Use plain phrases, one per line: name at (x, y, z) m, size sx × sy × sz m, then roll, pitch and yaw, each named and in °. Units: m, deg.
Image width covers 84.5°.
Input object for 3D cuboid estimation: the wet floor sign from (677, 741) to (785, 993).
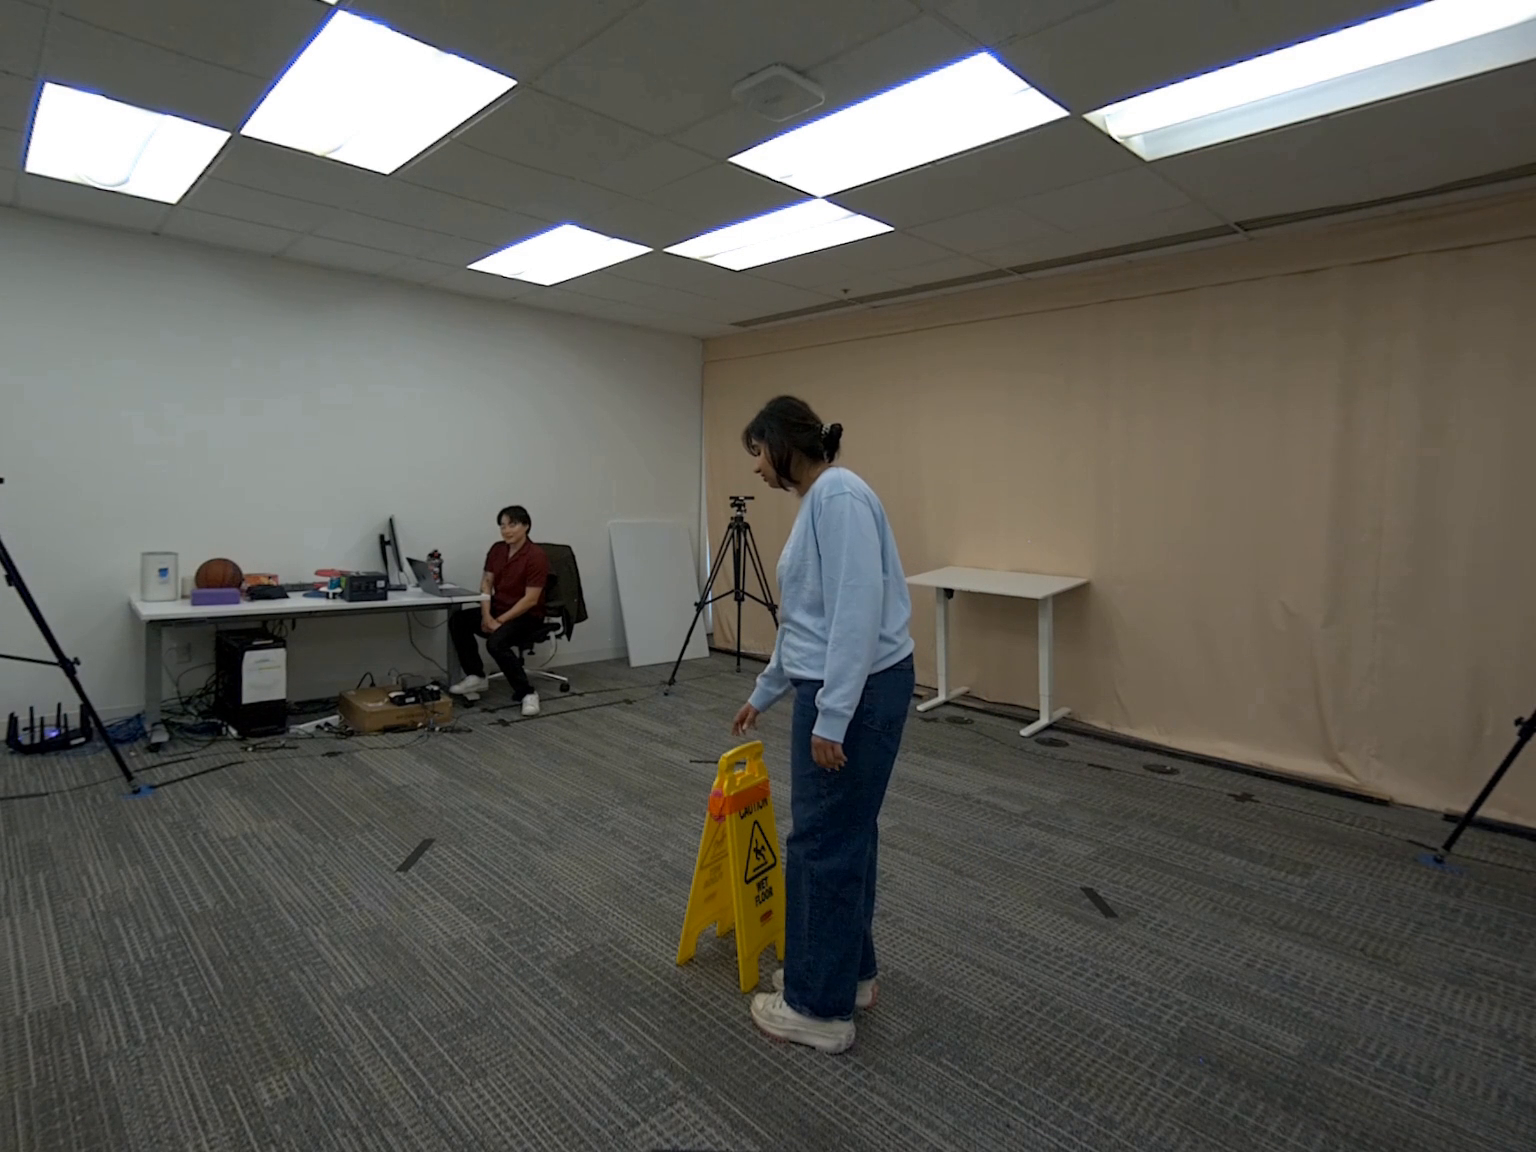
wet floor sign at (-0.088, 0.835, 2.517) m, size 0.296 × 0.644 × 0.276 m, roll 4°, pitch 4°, yaw 33°
